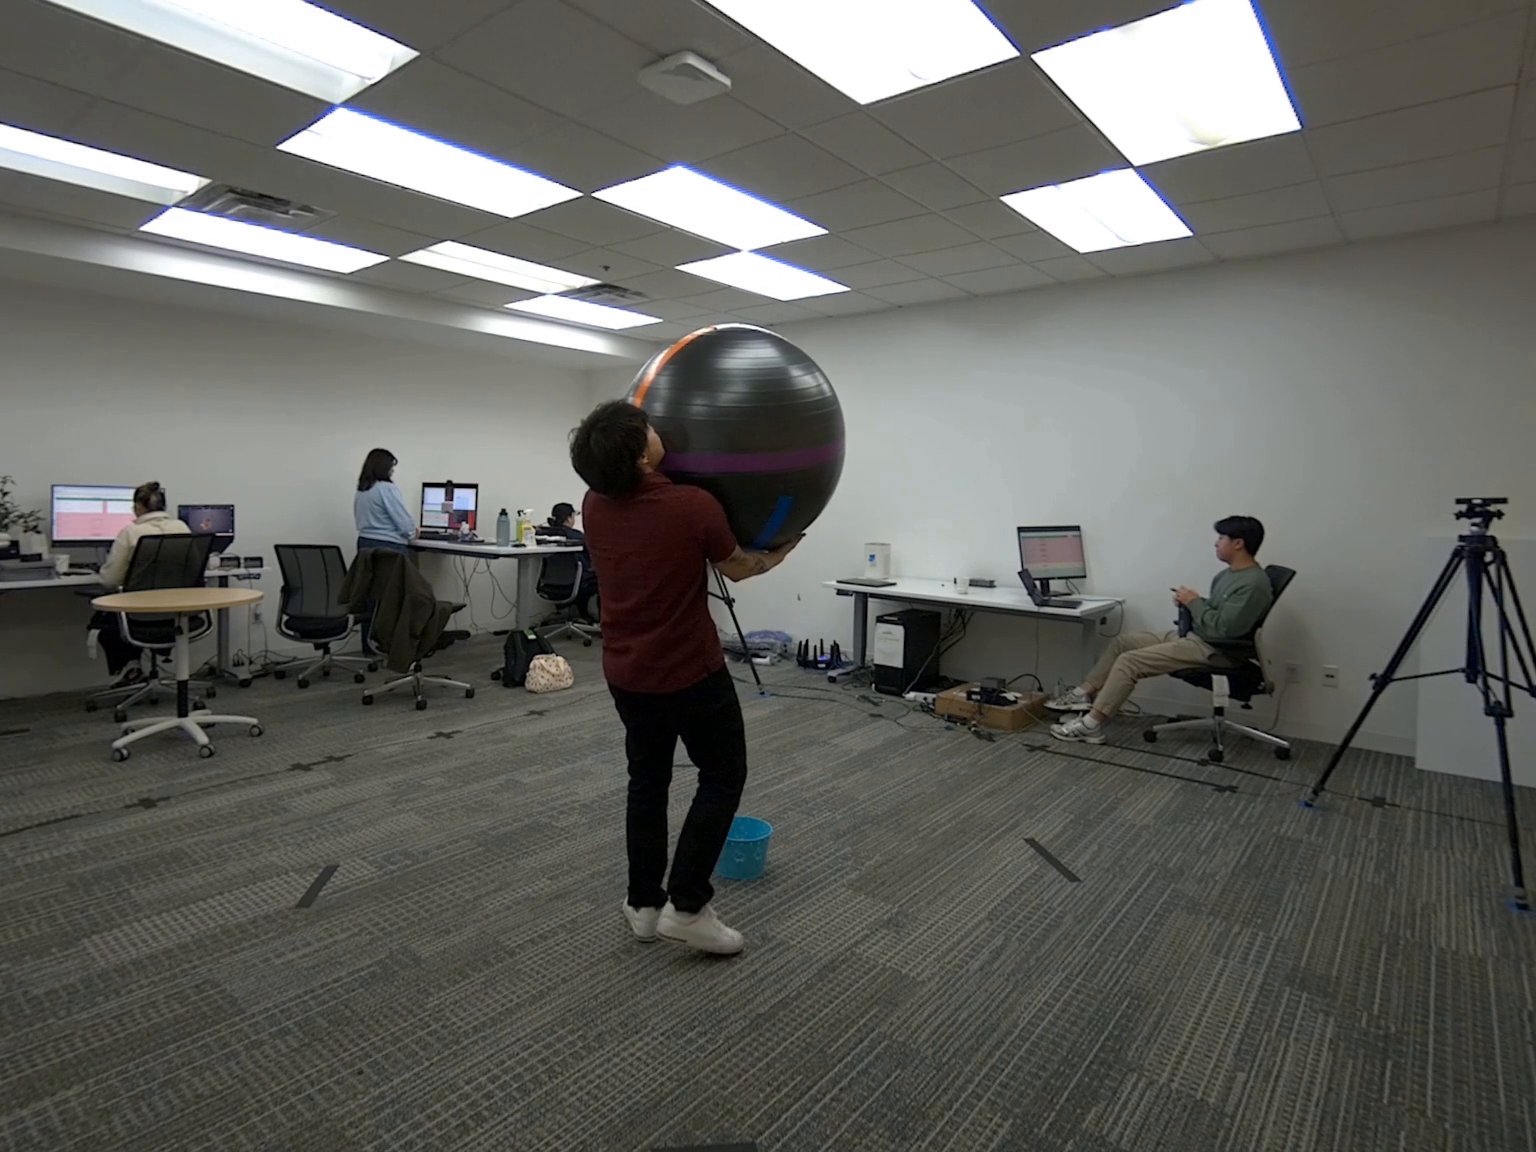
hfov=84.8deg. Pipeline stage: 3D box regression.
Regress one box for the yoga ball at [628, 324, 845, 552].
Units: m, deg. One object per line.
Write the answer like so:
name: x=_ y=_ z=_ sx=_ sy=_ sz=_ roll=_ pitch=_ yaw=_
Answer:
yoga ball: x=-0.126 y=-0.439 z=2.821 sx=0.757 sy=0.756 sz=0.762 roll=1 pitch=4 yaw=-2
